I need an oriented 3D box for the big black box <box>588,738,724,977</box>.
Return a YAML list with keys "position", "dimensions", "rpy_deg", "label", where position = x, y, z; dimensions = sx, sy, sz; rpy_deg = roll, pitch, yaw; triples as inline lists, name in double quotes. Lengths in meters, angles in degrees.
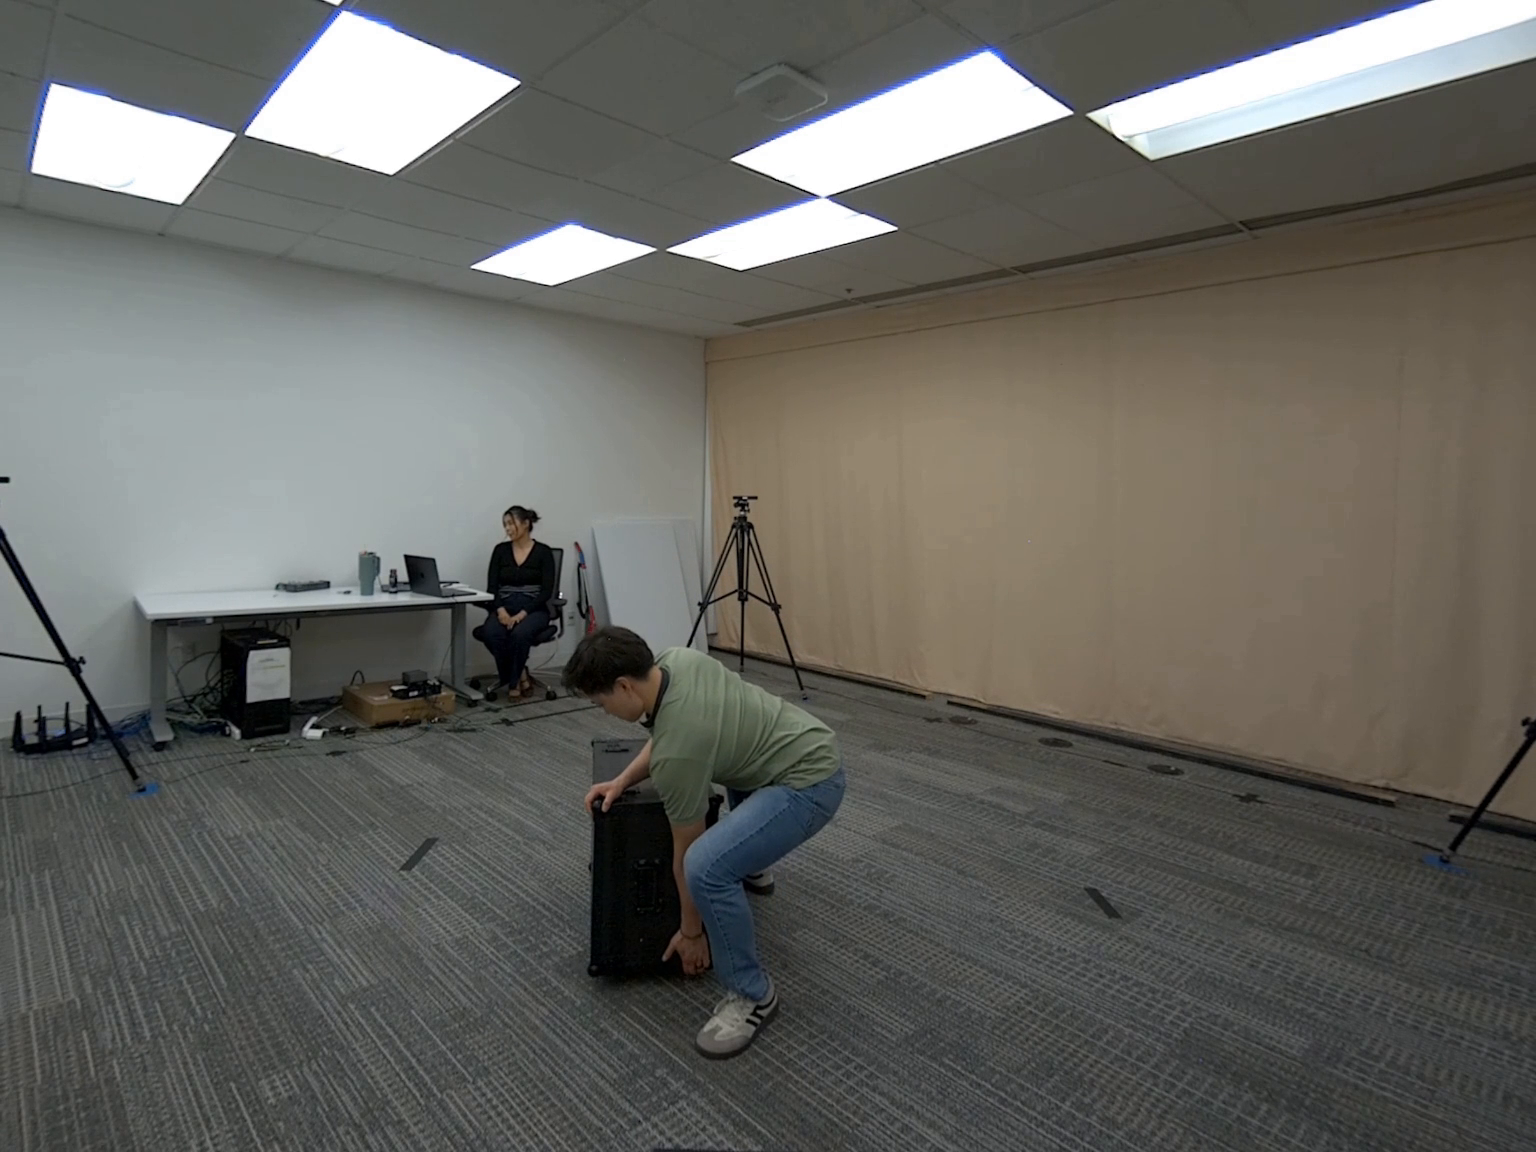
- position: [-0.399, 0.853, 2.795]
  dimensions: [0.393, 0.521, 0.869]
  rpy_deg: [1, 2, -11]
  label: "big black box"
